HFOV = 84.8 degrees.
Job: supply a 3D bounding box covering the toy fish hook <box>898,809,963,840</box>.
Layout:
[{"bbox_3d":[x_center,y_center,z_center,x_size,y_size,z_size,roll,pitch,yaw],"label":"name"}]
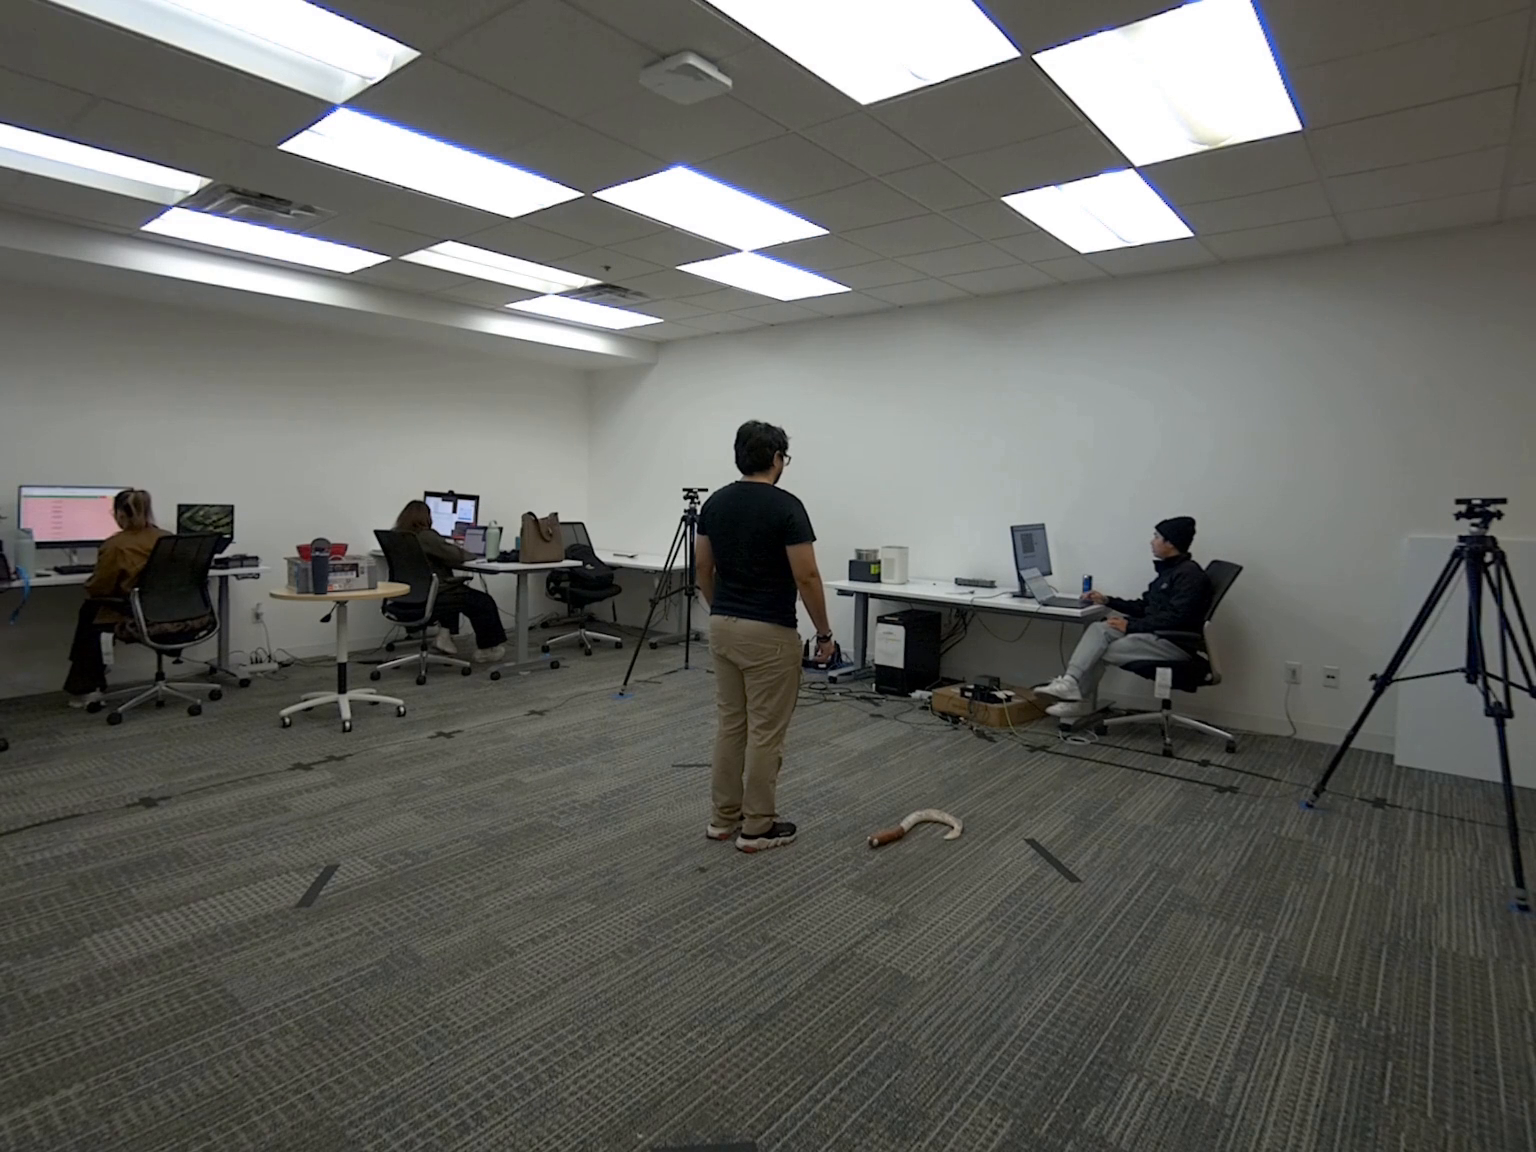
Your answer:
[{"bbox_3d":[0.601,1.037,3.452,0.491,0.048,0.232,-5,8,-44],"label":"toy fish hook"}]
